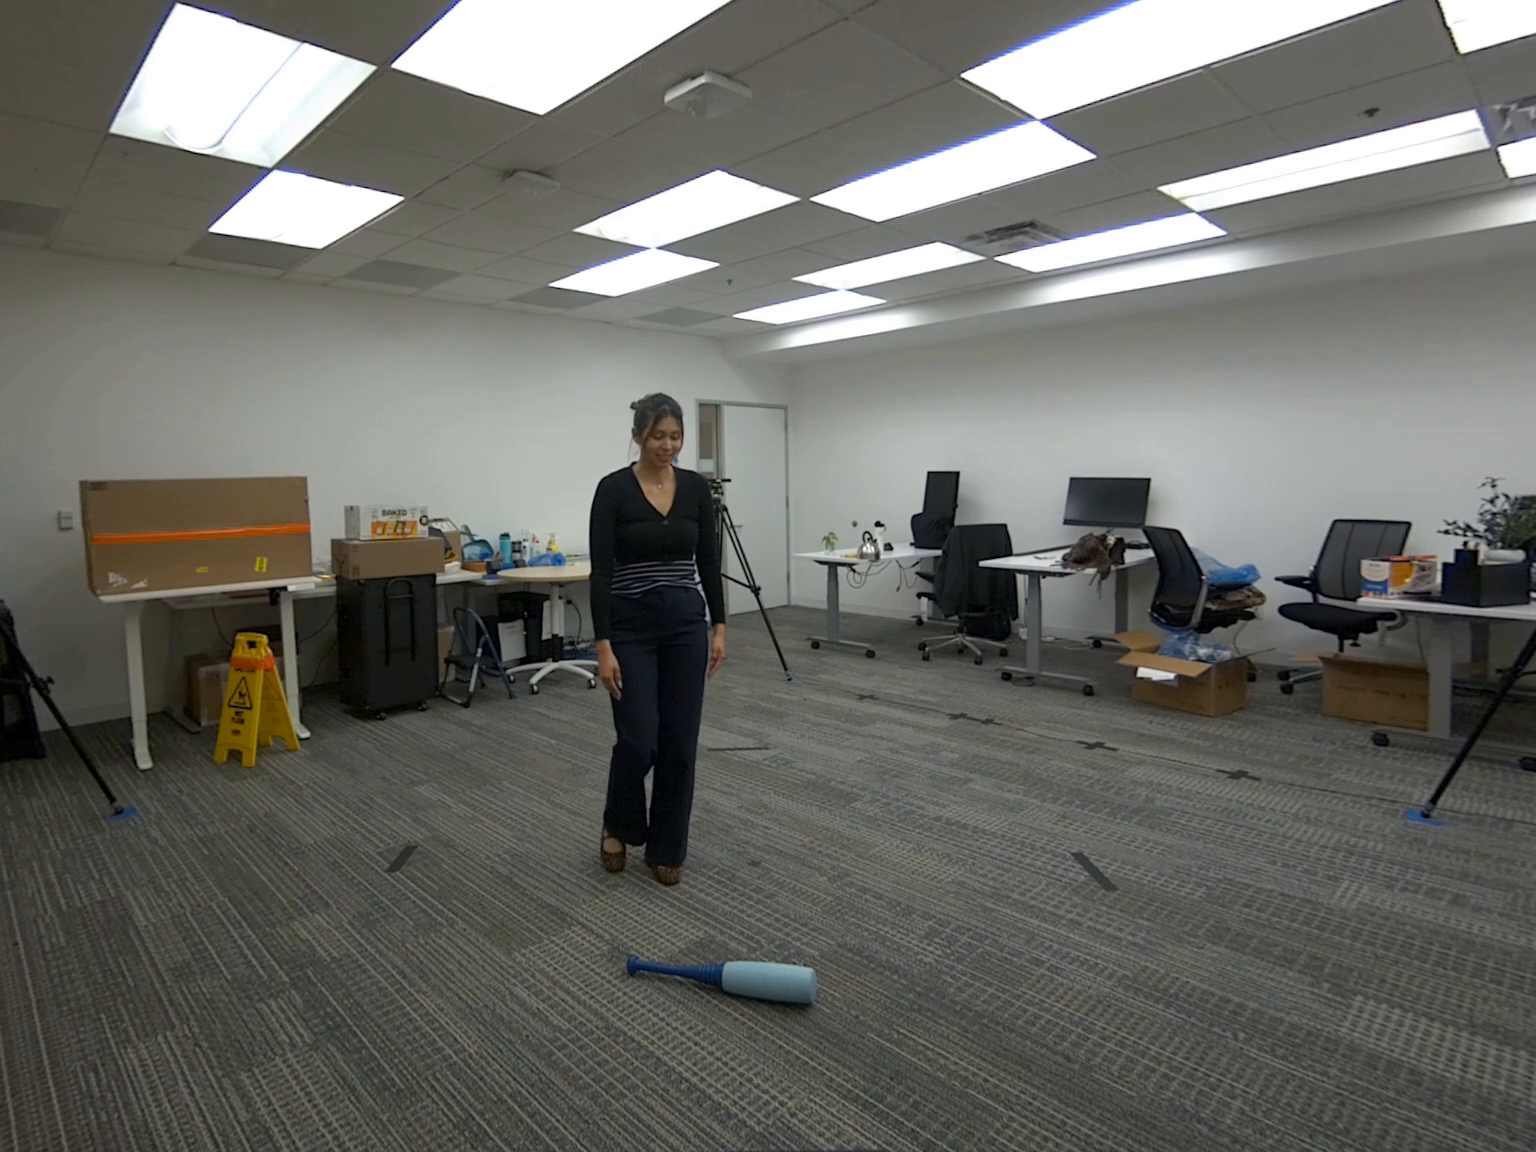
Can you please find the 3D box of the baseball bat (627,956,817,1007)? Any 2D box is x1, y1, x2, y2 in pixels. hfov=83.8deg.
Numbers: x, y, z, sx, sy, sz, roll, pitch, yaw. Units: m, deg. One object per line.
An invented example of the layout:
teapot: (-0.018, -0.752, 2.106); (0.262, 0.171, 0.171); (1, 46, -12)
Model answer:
baseball bat: (-0.132, 1.101, 2.346); (0.551, 0.089, 0.088); (-3, 4, 17)
